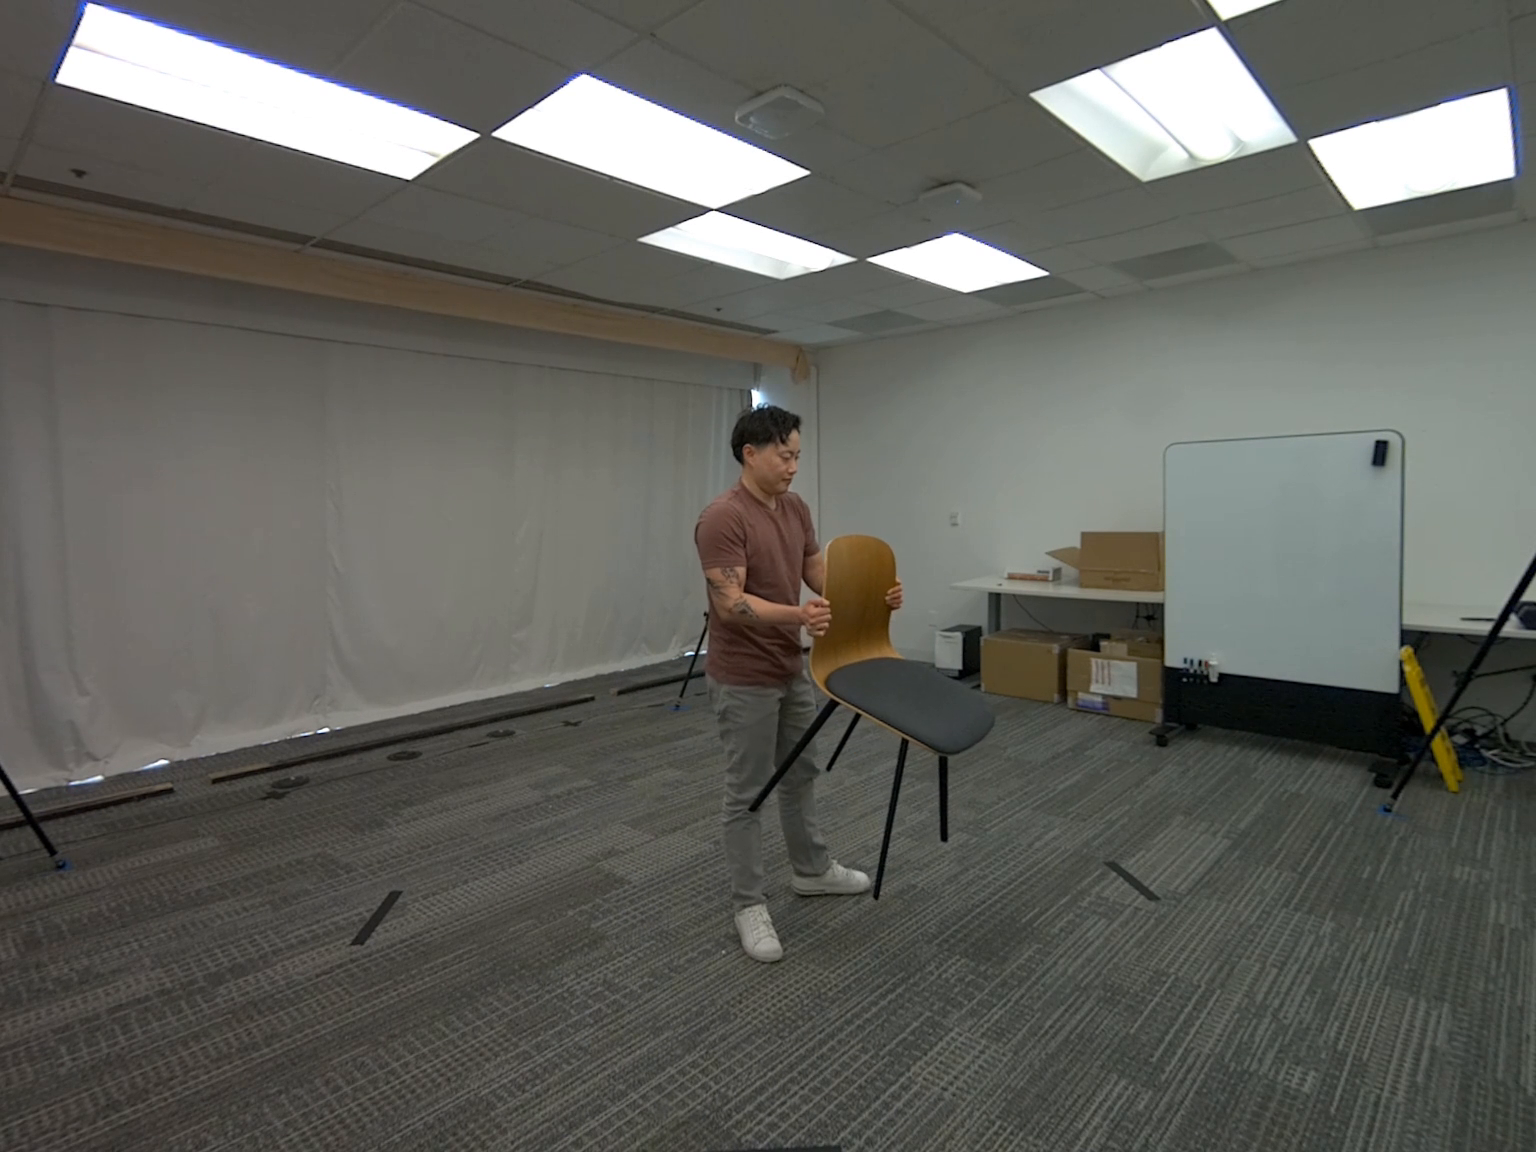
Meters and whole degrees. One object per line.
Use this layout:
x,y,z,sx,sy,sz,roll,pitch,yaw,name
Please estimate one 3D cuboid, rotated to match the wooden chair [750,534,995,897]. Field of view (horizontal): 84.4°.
0.365,0.375,2.428,0.541,0.872,0.464,20,16,35,wooden chair
